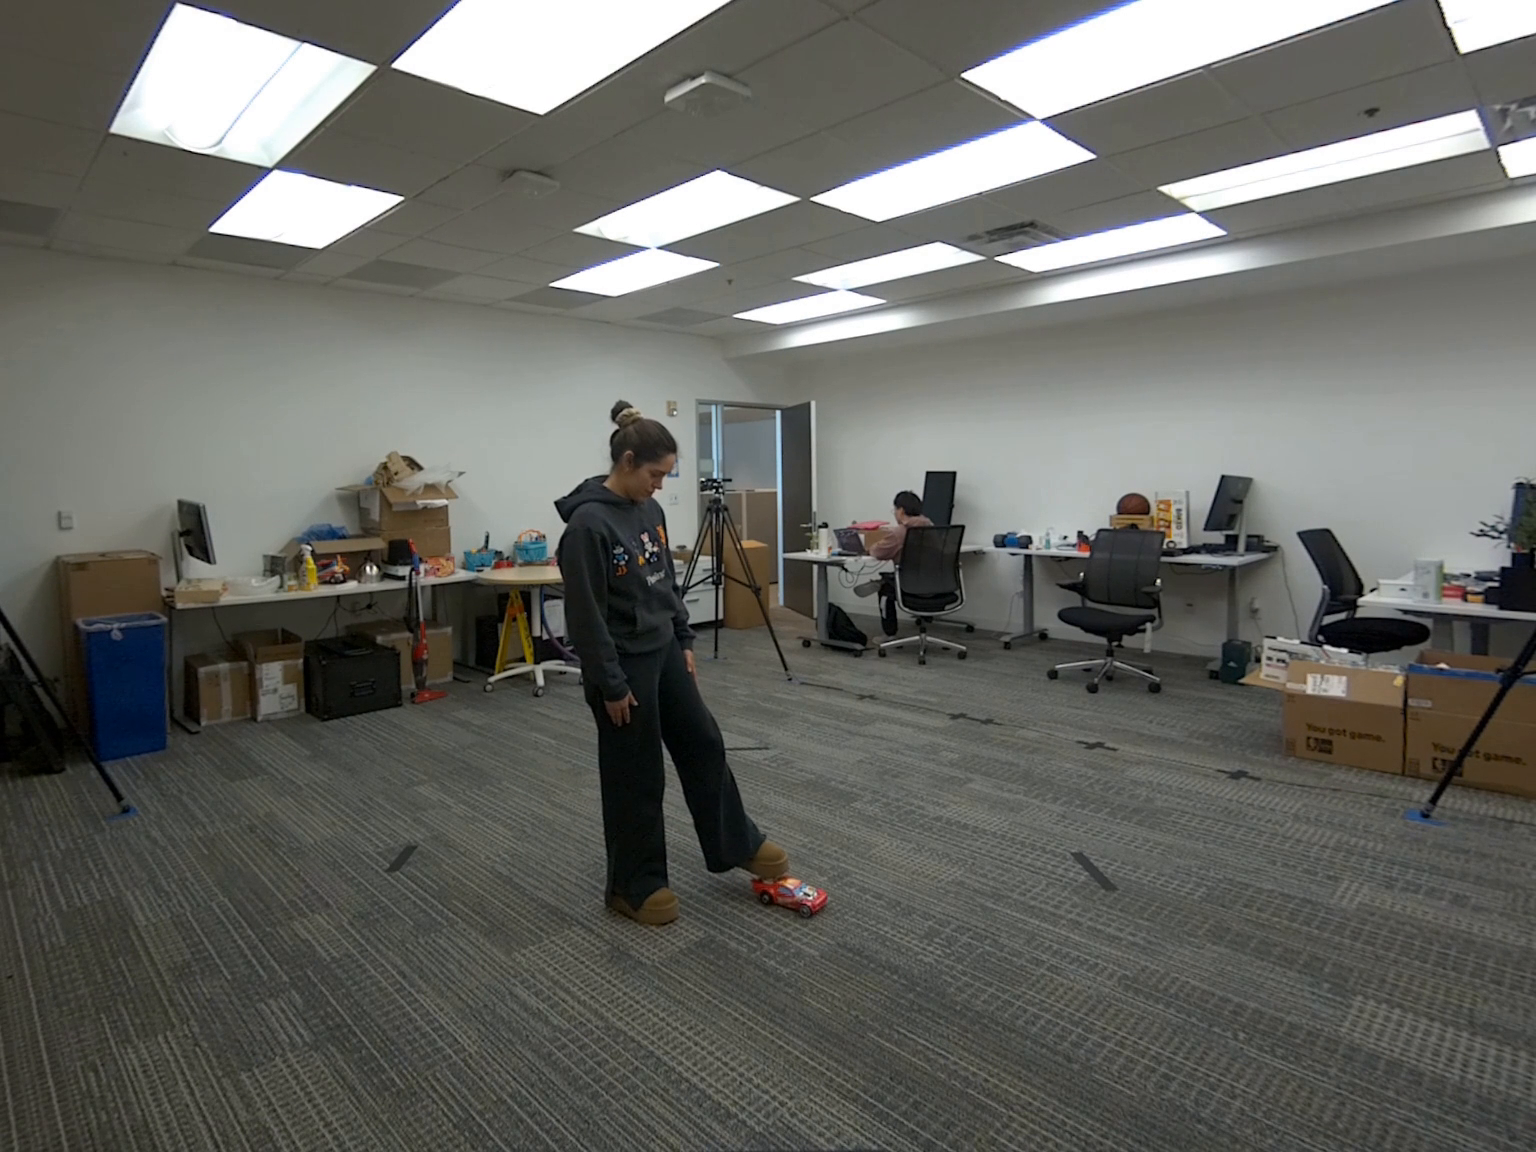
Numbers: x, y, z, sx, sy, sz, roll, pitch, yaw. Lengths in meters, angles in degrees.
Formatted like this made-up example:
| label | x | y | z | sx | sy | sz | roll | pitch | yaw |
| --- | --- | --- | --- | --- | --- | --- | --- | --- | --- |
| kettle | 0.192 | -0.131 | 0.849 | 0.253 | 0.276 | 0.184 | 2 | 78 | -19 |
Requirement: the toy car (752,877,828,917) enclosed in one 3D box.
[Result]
| label | x | y | z | sx | sy | sz | roll | pitch | yaw |
| --- | --- | --- | --- | --- | --- | --- | --- | --- | --- |
| toy car | 0.068 | 1.043 | 2.793 | 0.263 | 0.082 | 0.127 | 14 | 14 | 33 |
